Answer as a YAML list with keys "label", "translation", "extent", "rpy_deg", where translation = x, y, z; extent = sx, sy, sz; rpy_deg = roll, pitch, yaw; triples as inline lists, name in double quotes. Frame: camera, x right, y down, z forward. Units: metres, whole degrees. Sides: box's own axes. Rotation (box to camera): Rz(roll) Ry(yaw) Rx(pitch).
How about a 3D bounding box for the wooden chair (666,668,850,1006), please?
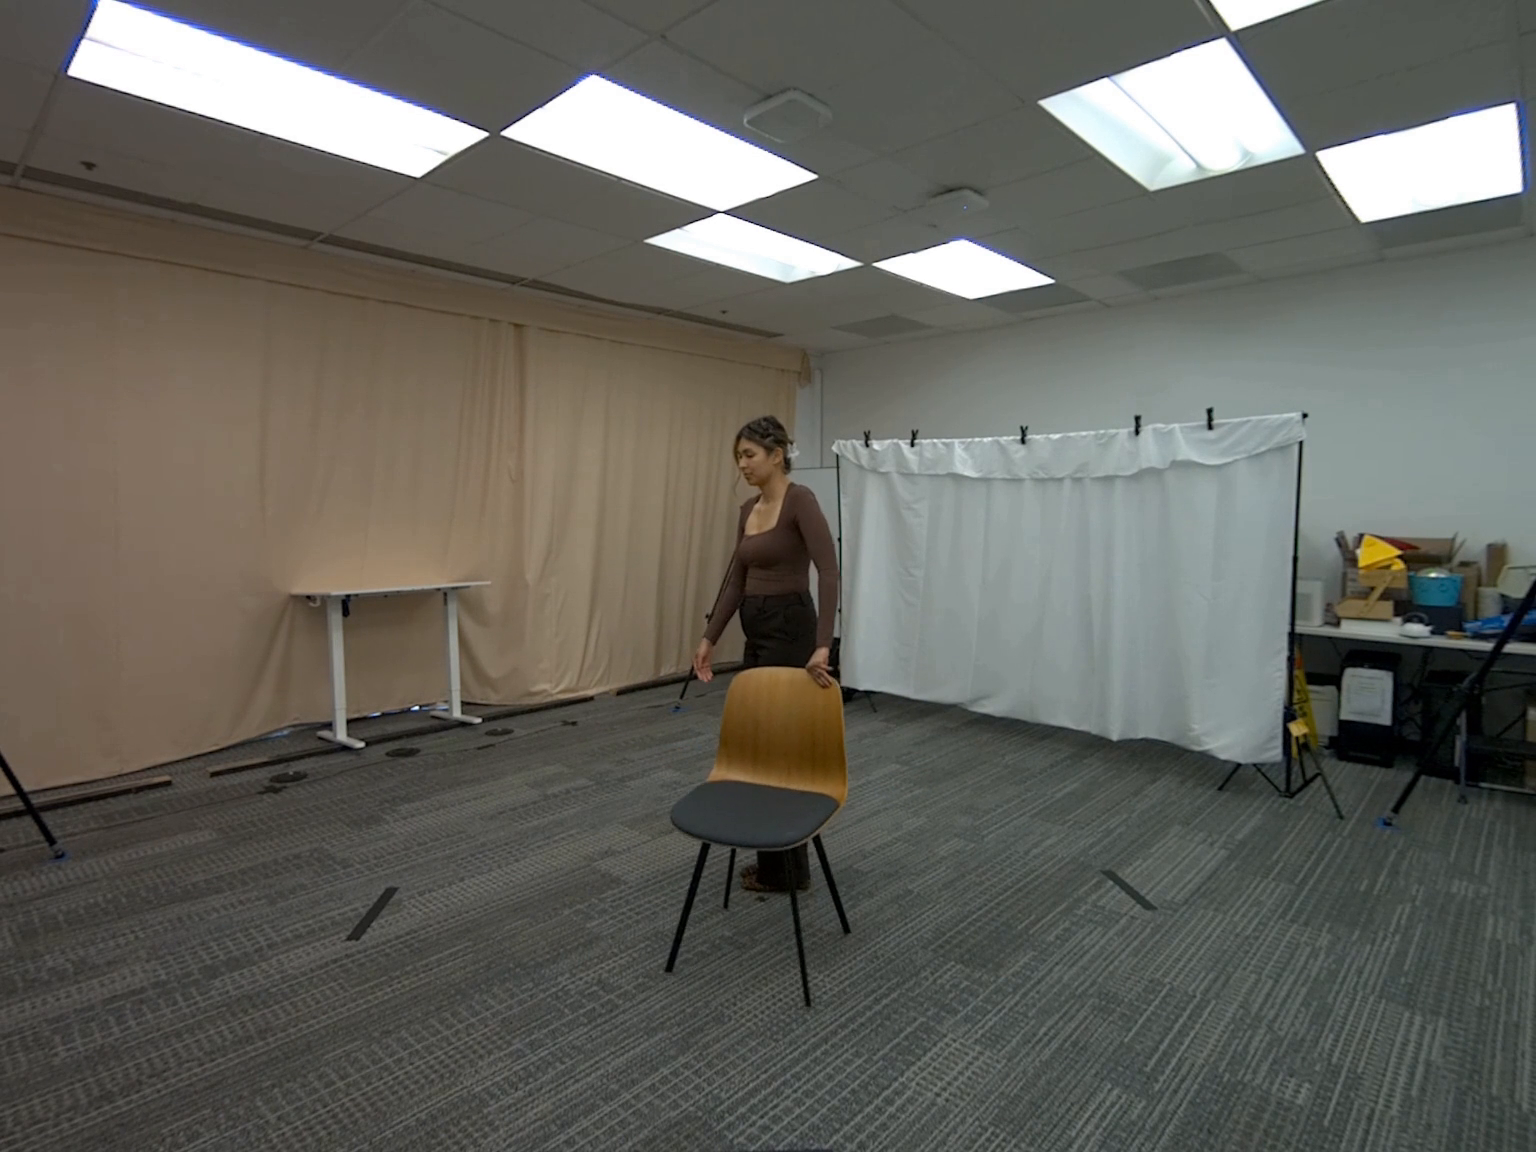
- label: "wooden chair"
  translation: [-0.011, 0.747, 2.599]
  extent: [0.489, 0.878, 0.510]
  rpy_deg: [2, -1, 22]
